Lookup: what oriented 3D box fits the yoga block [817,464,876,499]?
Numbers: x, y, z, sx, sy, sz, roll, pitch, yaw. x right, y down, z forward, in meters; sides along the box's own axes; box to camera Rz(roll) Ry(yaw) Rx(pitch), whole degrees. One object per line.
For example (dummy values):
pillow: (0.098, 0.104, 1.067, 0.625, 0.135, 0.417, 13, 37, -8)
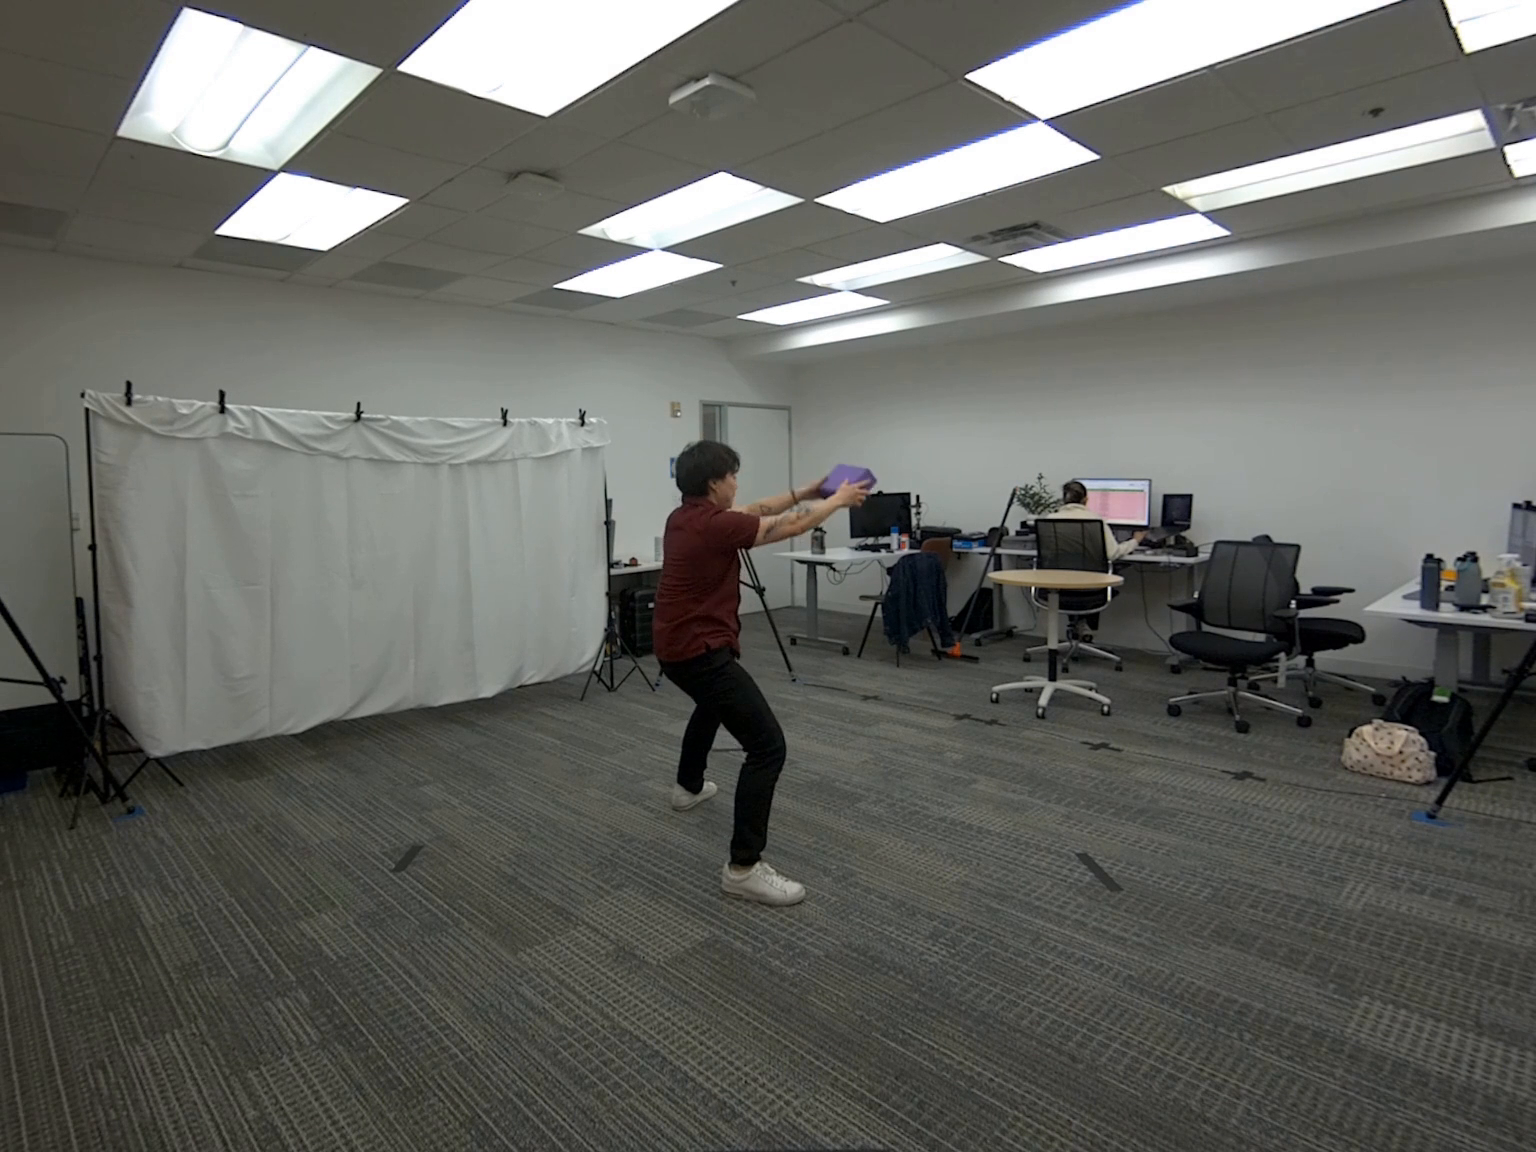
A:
yoga block: (0.300, -0.381, 3.418, 0.149, 0.075, 0.234, -46, 17, -2)
